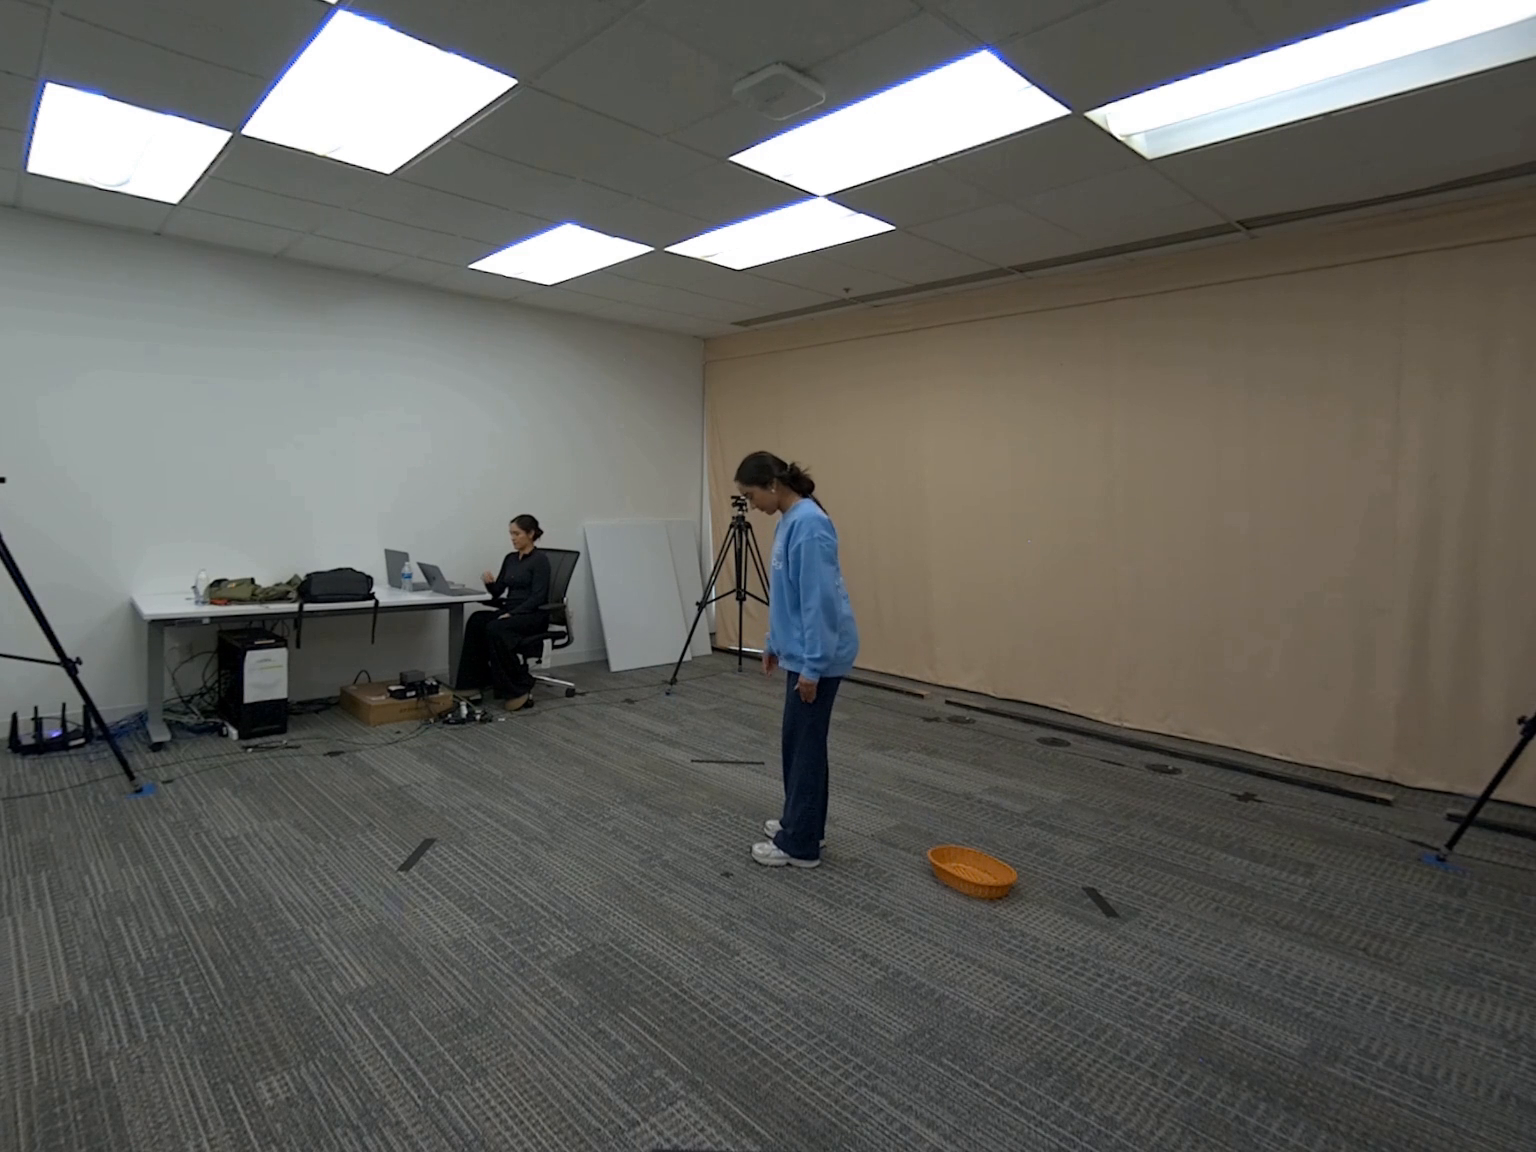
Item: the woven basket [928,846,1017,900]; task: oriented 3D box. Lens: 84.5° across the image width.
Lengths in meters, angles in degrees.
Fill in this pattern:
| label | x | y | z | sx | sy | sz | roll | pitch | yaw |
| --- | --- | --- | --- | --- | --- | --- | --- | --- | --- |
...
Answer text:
| label | x | y | z | sx | sy | sz | roll | pitch | yaw |
| --- | --- | --- | --- | --- | --- | --- | --- | --- | --- |
| woven basket | 0.731 | 1.086 | 3.089 | 0.247 | 0.073 | 0.359 | 0 | 5 | -33 |
